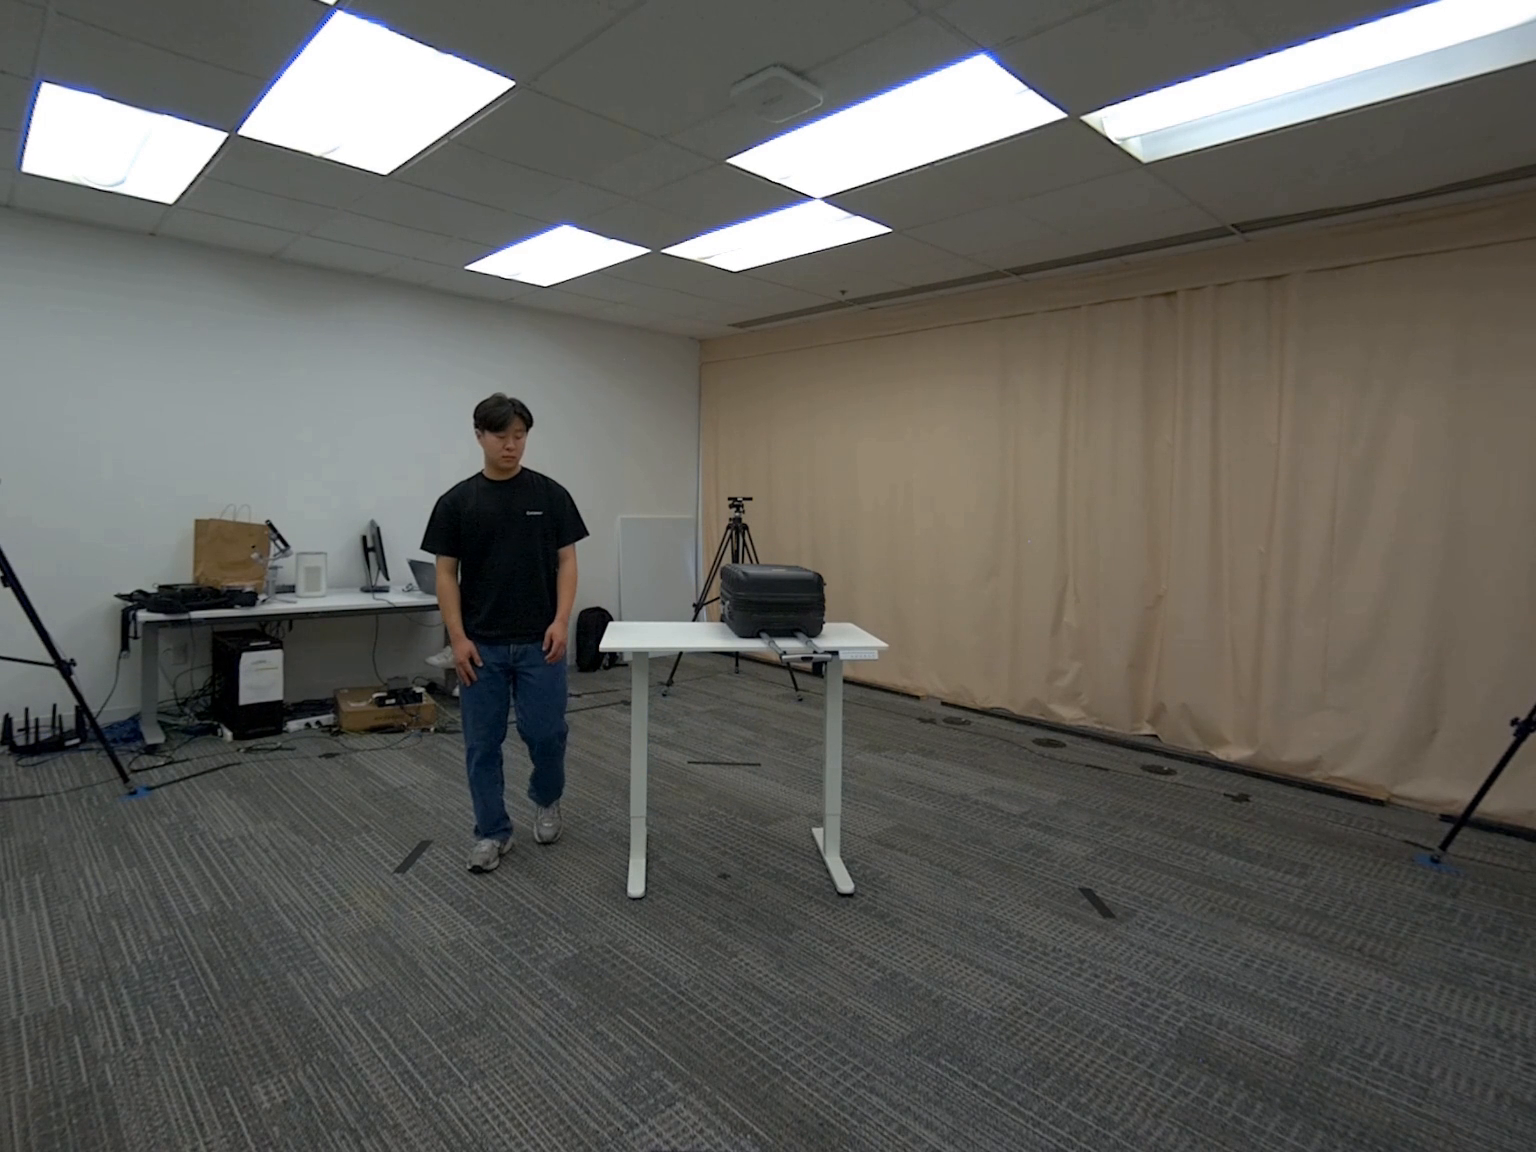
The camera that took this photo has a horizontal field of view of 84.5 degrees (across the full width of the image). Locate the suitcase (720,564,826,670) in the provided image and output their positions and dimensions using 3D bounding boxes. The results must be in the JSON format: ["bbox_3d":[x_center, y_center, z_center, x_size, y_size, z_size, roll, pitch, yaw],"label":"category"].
[{"bbox_3d":[0.035,0.107,3.100,0.381,0.257,0.988,0,3,-11],"label":"suitcase"}]
